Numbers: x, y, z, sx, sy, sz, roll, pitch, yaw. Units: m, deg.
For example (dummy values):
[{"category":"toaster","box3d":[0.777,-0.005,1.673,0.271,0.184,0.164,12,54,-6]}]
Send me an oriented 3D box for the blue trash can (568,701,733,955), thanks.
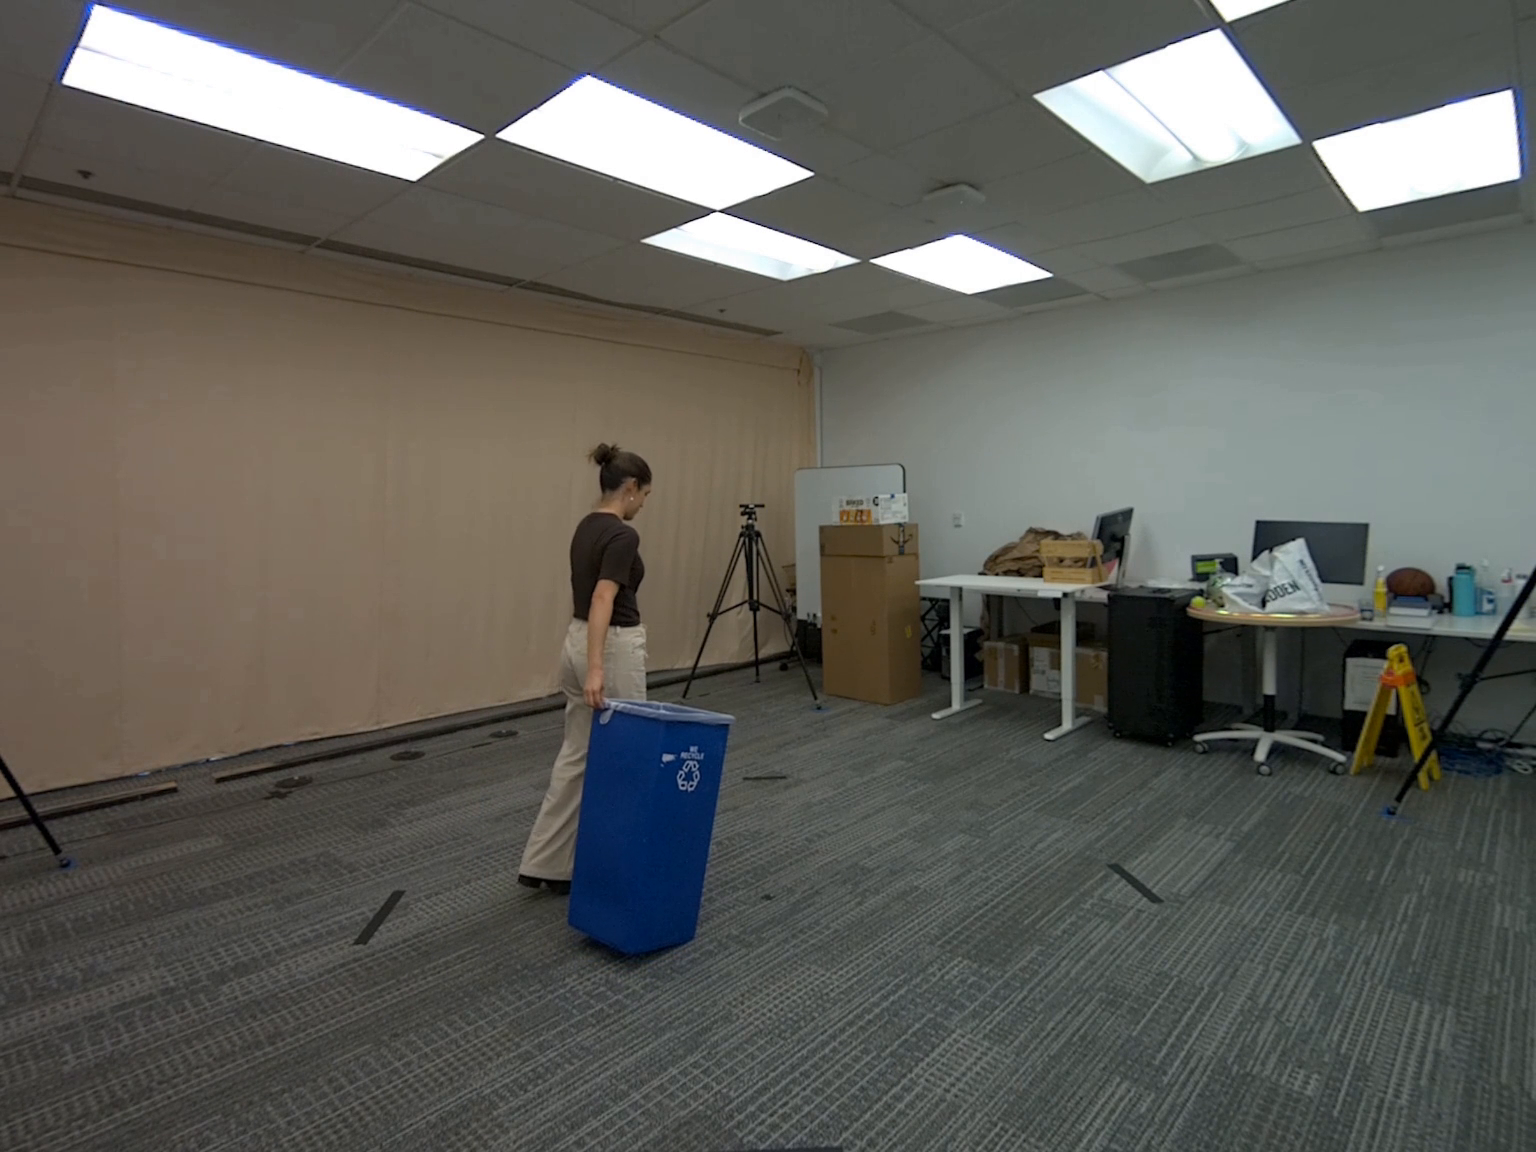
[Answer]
[{"category":"blue trash can","box3d":[-0.387,0.789,2.749,0.390,0.716,0.361,2,-9,38]}]
